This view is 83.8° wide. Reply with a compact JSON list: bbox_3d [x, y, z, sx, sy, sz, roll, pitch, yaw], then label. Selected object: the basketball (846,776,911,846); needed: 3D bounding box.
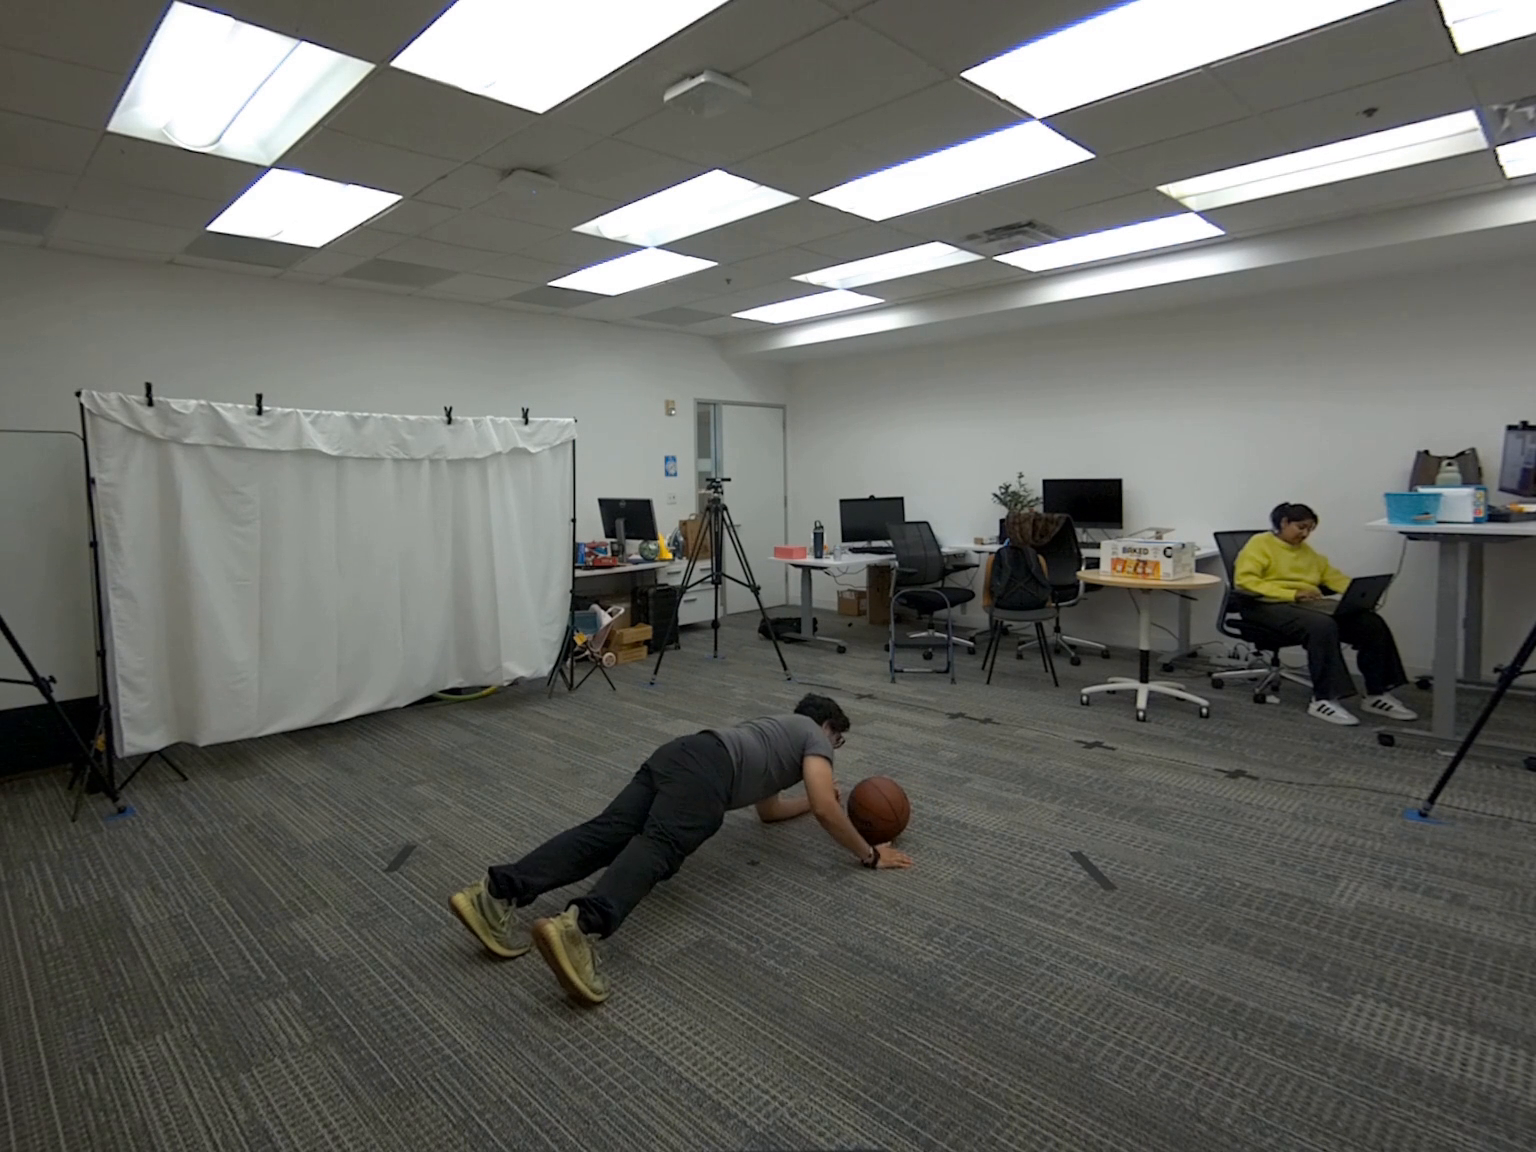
[{"bbox_3d":[0.422,0.887,3.280,0.236,0.235,0.237,-1,5,-2],"label":"basketball"}]
